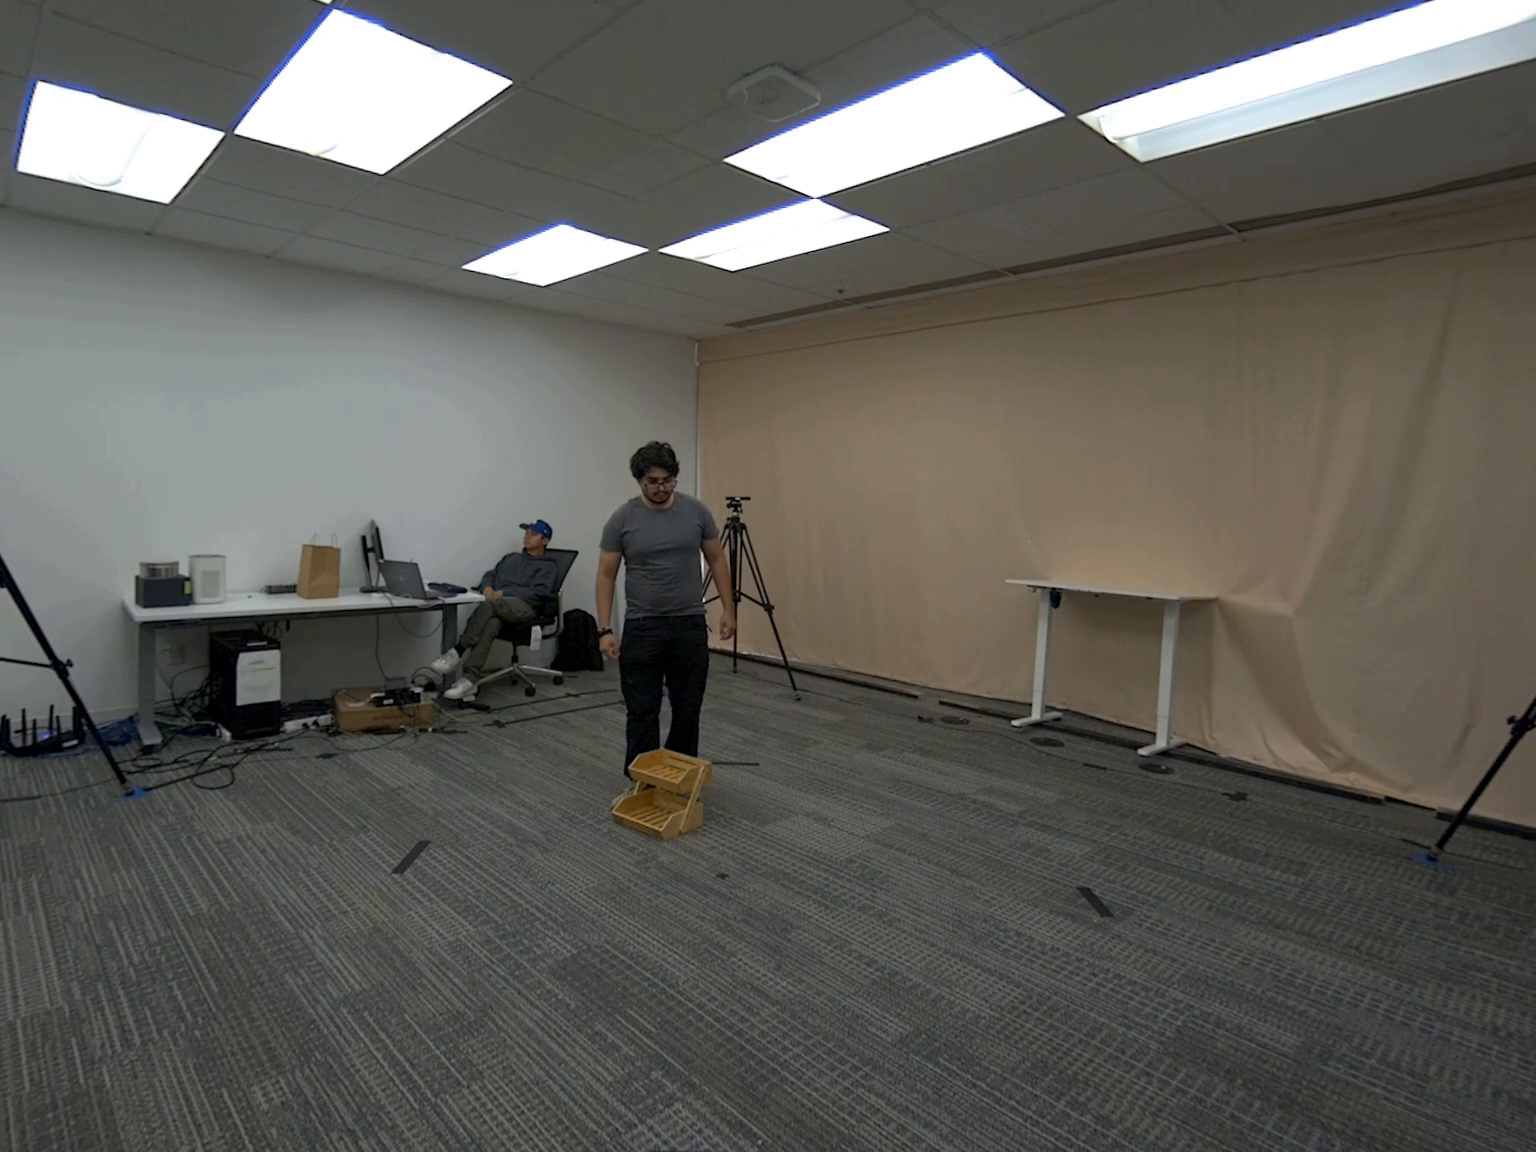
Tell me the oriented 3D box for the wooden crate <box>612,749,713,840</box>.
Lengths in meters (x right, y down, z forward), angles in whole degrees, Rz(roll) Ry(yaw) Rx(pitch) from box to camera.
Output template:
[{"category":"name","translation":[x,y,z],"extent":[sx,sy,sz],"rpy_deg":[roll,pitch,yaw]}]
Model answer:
[{"category":"wooden crate","translation":[-0.467,0.925,3.598],"extent":[0.332,0.273,0.295],"rpy_deg":[5,4,39]}]
